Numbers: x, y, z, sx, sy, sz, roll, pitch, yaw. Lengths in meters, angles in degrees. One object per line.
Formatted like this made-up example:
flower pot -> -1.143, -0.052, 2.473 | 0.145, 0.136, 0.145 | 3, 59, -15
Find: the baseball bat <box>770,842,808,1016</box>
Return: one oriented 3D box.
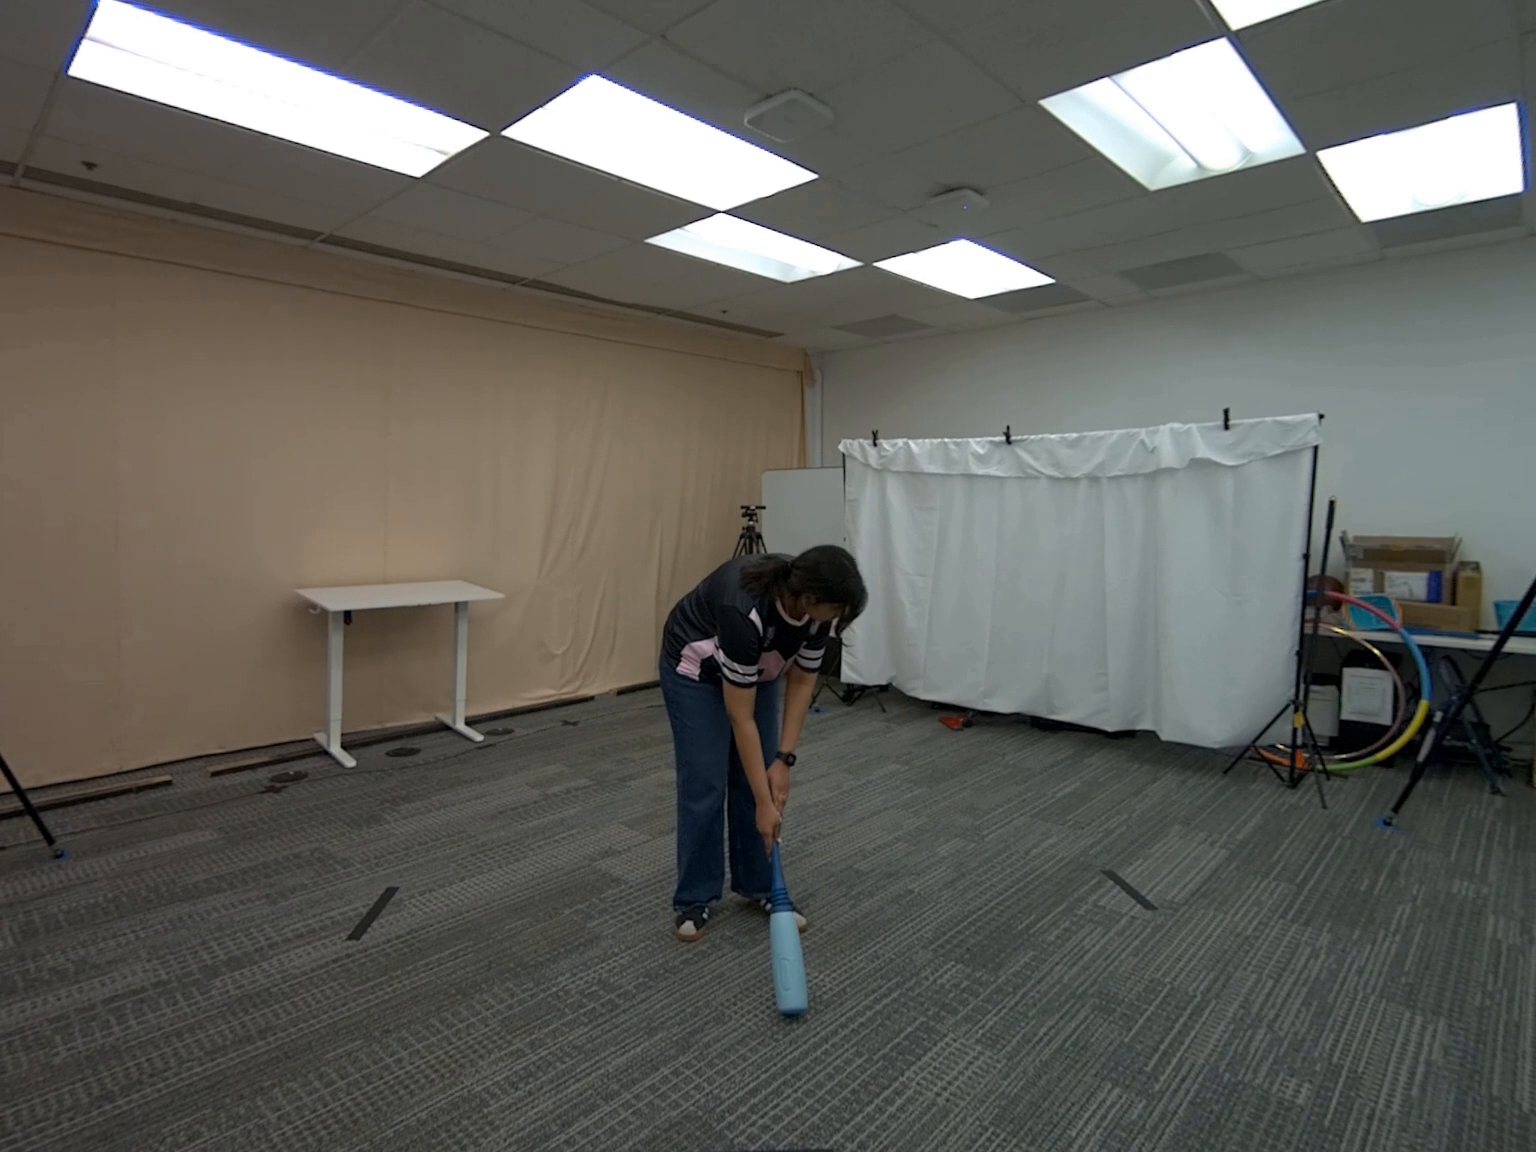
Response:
baseball bat -> 0.047, 0.955, 2.435 | 0.089, 0.554, 0.087 | -3, -34, -4
